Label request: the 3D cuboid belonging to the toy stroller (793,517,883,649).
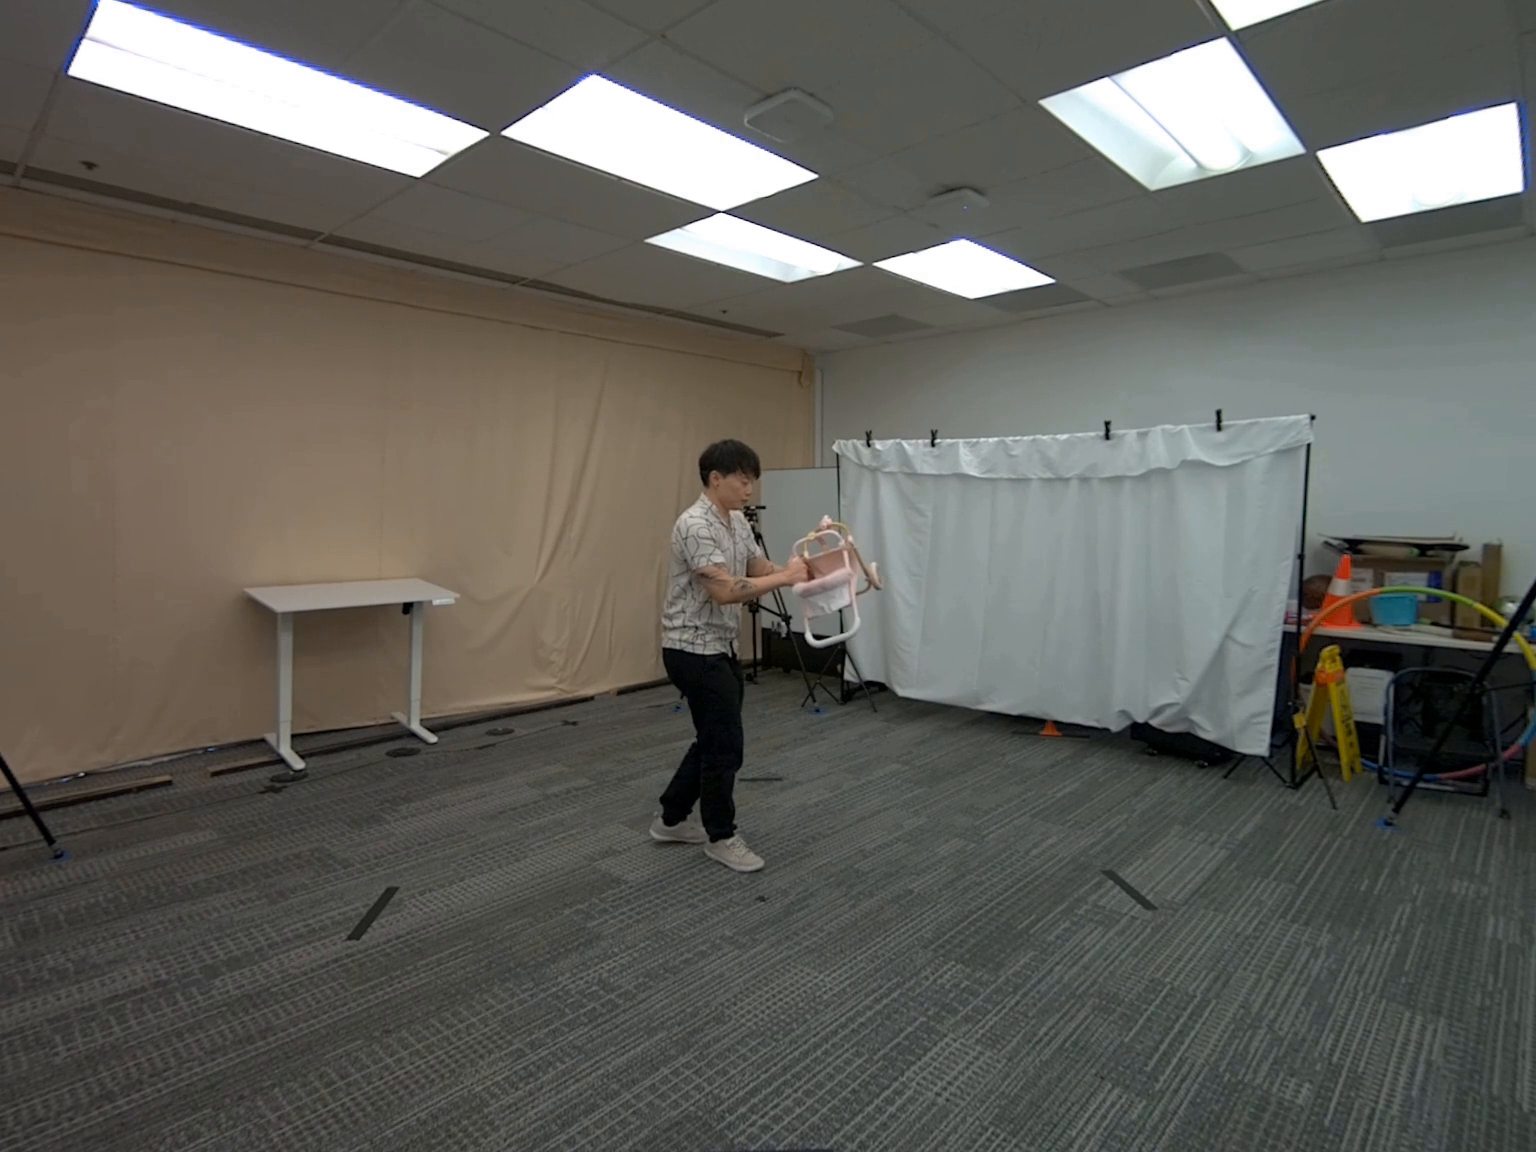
[{"bbox_3d":[0.226,-0.006,3.111,0.286,0.337,0.532,-15,15,21],"label":"toy stroller"}]
